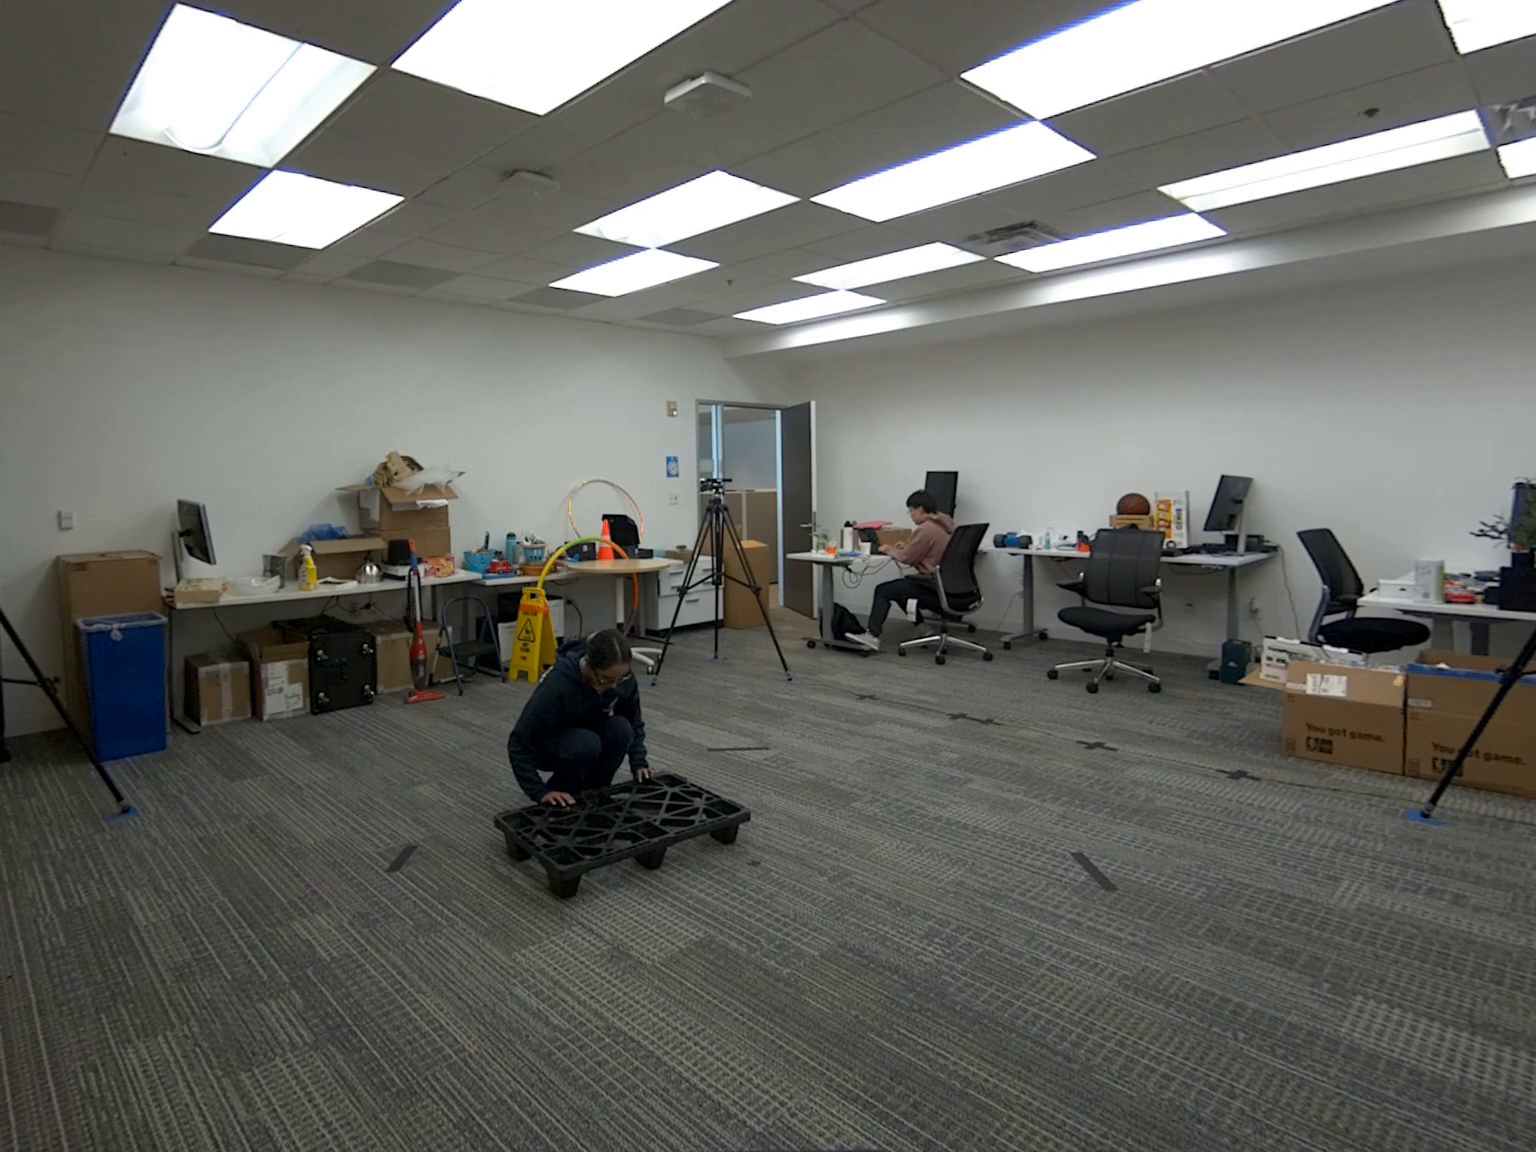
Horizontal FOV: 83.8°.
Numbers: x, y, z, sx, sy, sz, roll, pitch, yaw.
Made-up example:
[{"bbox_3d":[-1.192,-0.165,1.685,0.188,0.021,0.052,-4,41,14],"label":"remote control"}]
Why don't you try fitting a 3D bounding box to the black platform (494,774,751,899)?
[{"bbox_3d":[-0.543,0.967,3.247,0.785,0.142,0.624,-6,9,-37],"label":"black platform"}]
